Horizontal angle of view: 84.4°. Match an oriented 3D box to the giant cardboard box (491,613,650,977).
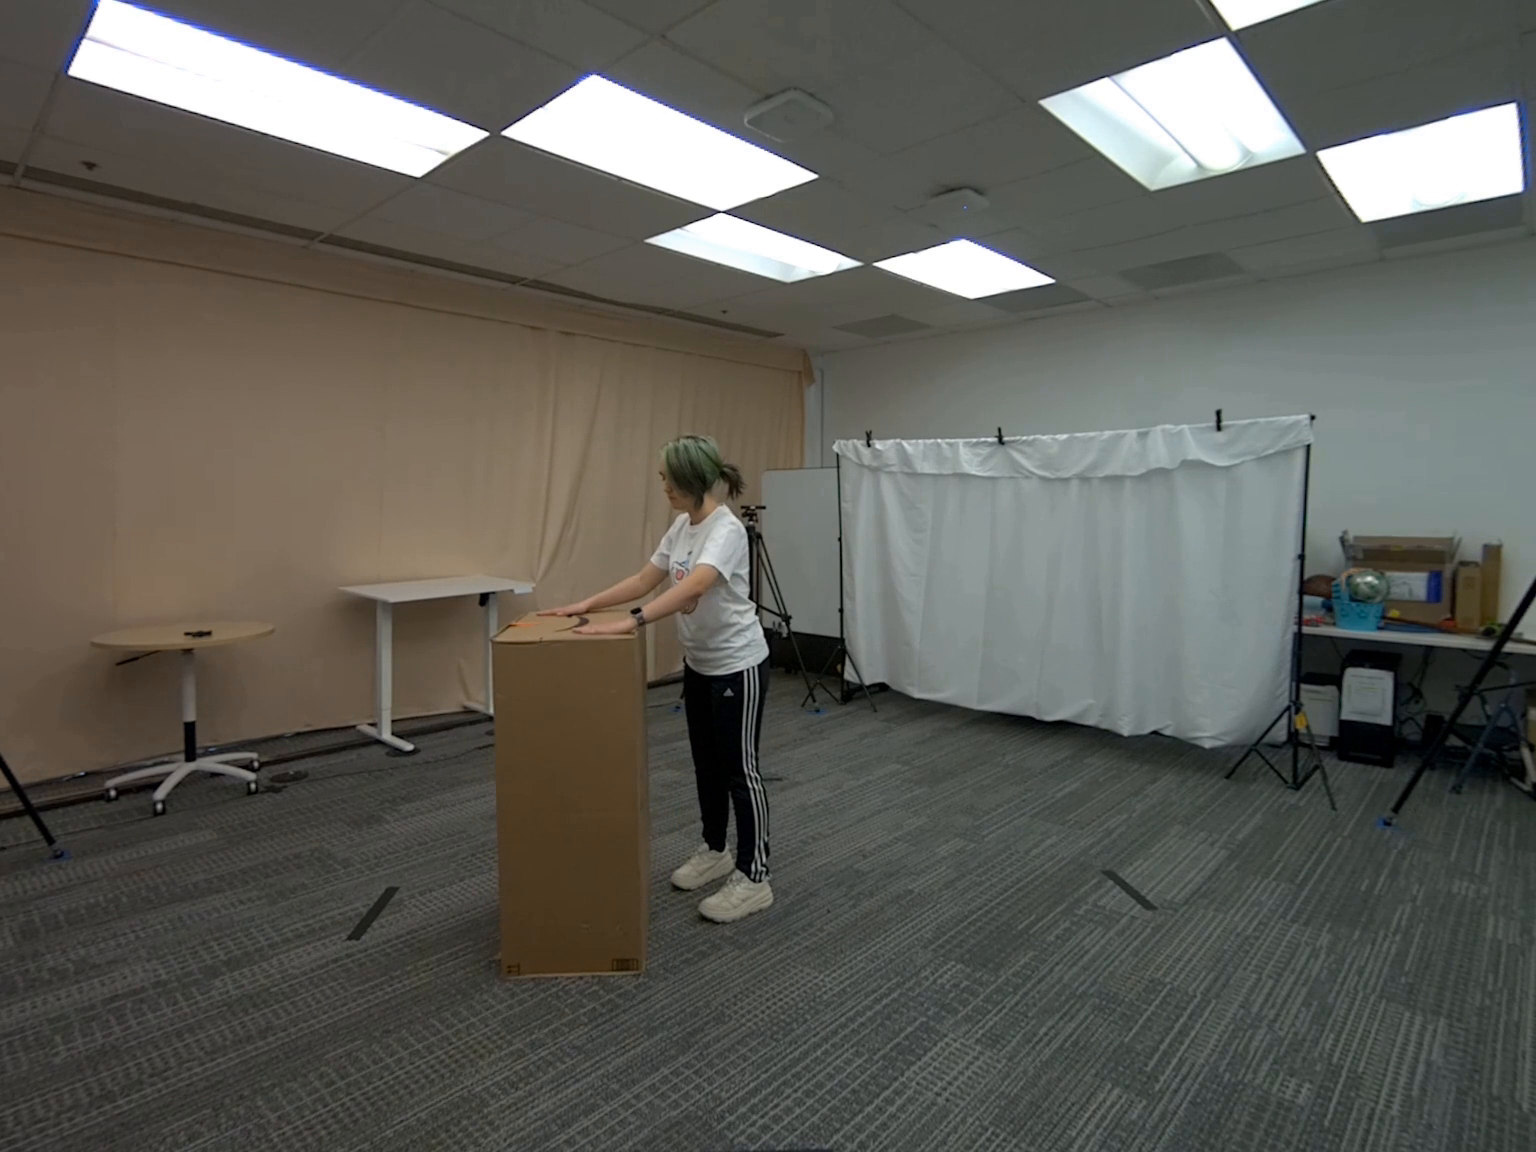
[{"bbox_3d":[-0.615,0.662,2.750,0.445,1.025,0.588,0,4,-5],"label":"giant cardboard box"}]
